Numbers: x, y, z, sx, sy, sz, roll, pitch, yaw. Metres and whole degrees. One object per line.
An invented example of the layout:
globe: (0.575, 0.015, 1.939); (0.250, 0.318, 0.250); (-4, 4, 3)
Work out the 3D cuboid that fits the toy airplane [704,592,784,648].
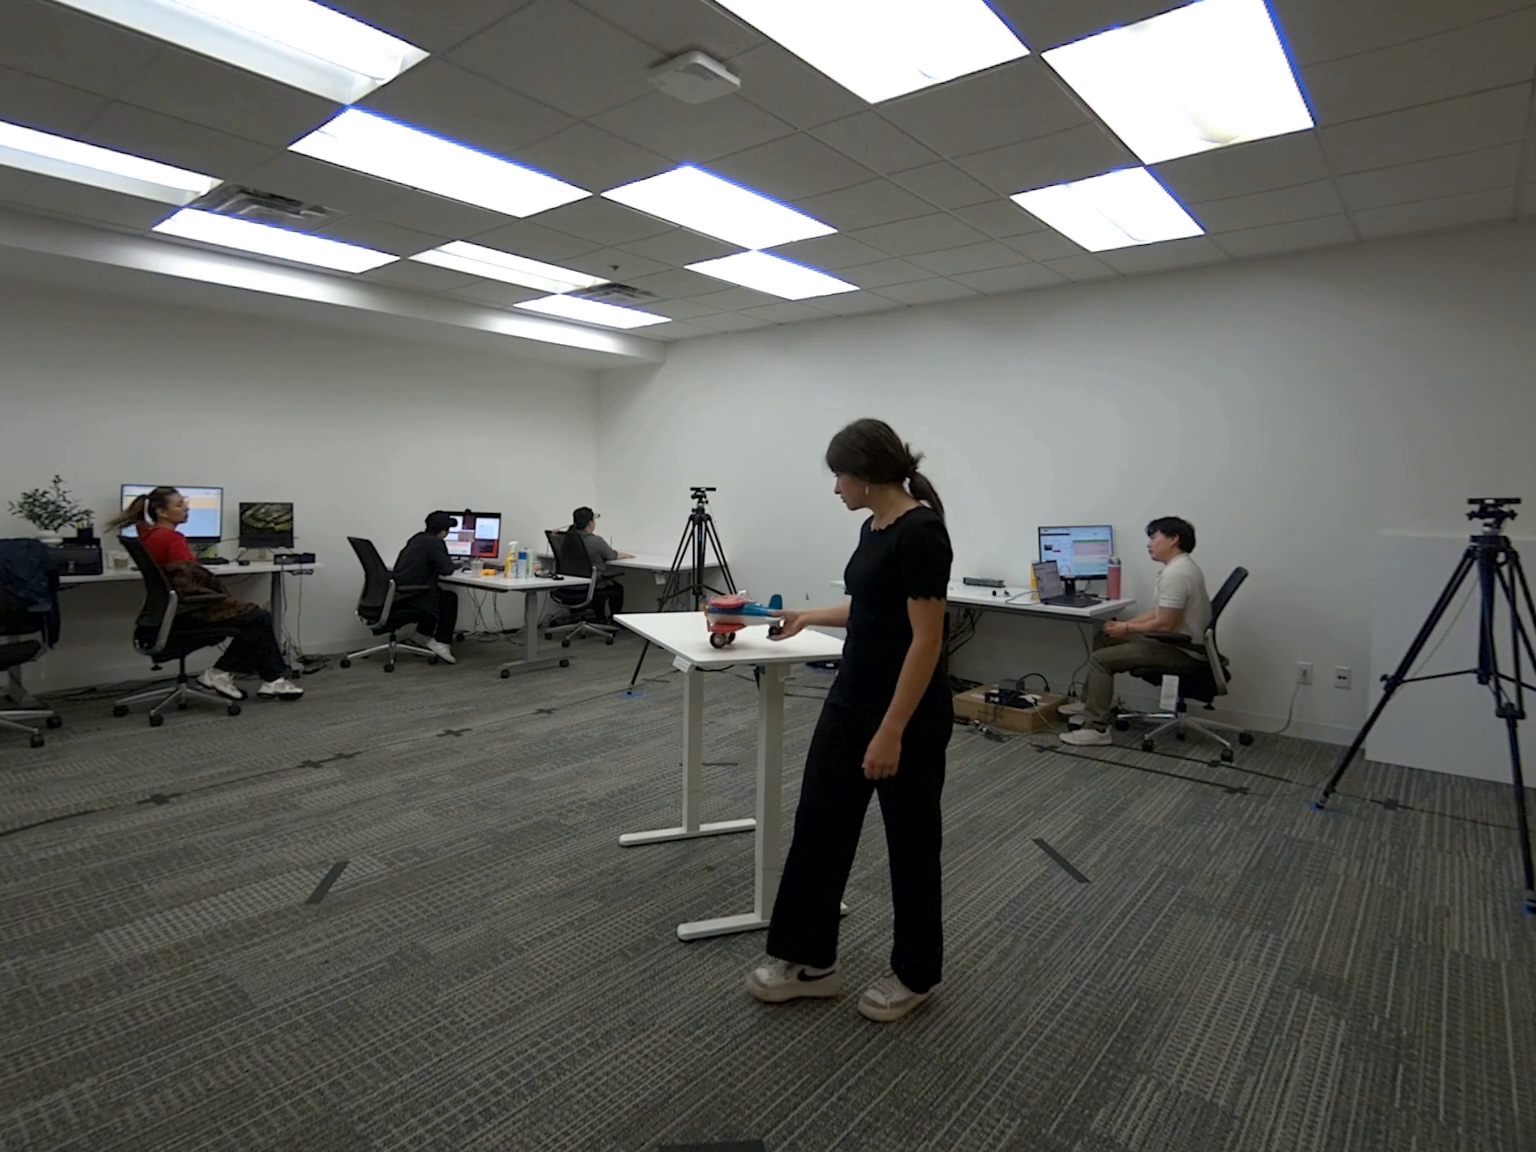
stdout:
toy airplane: (-0.085, 0.128, 2.708); (0.257, 0.156, 0.253); (-13, 1, -11)
